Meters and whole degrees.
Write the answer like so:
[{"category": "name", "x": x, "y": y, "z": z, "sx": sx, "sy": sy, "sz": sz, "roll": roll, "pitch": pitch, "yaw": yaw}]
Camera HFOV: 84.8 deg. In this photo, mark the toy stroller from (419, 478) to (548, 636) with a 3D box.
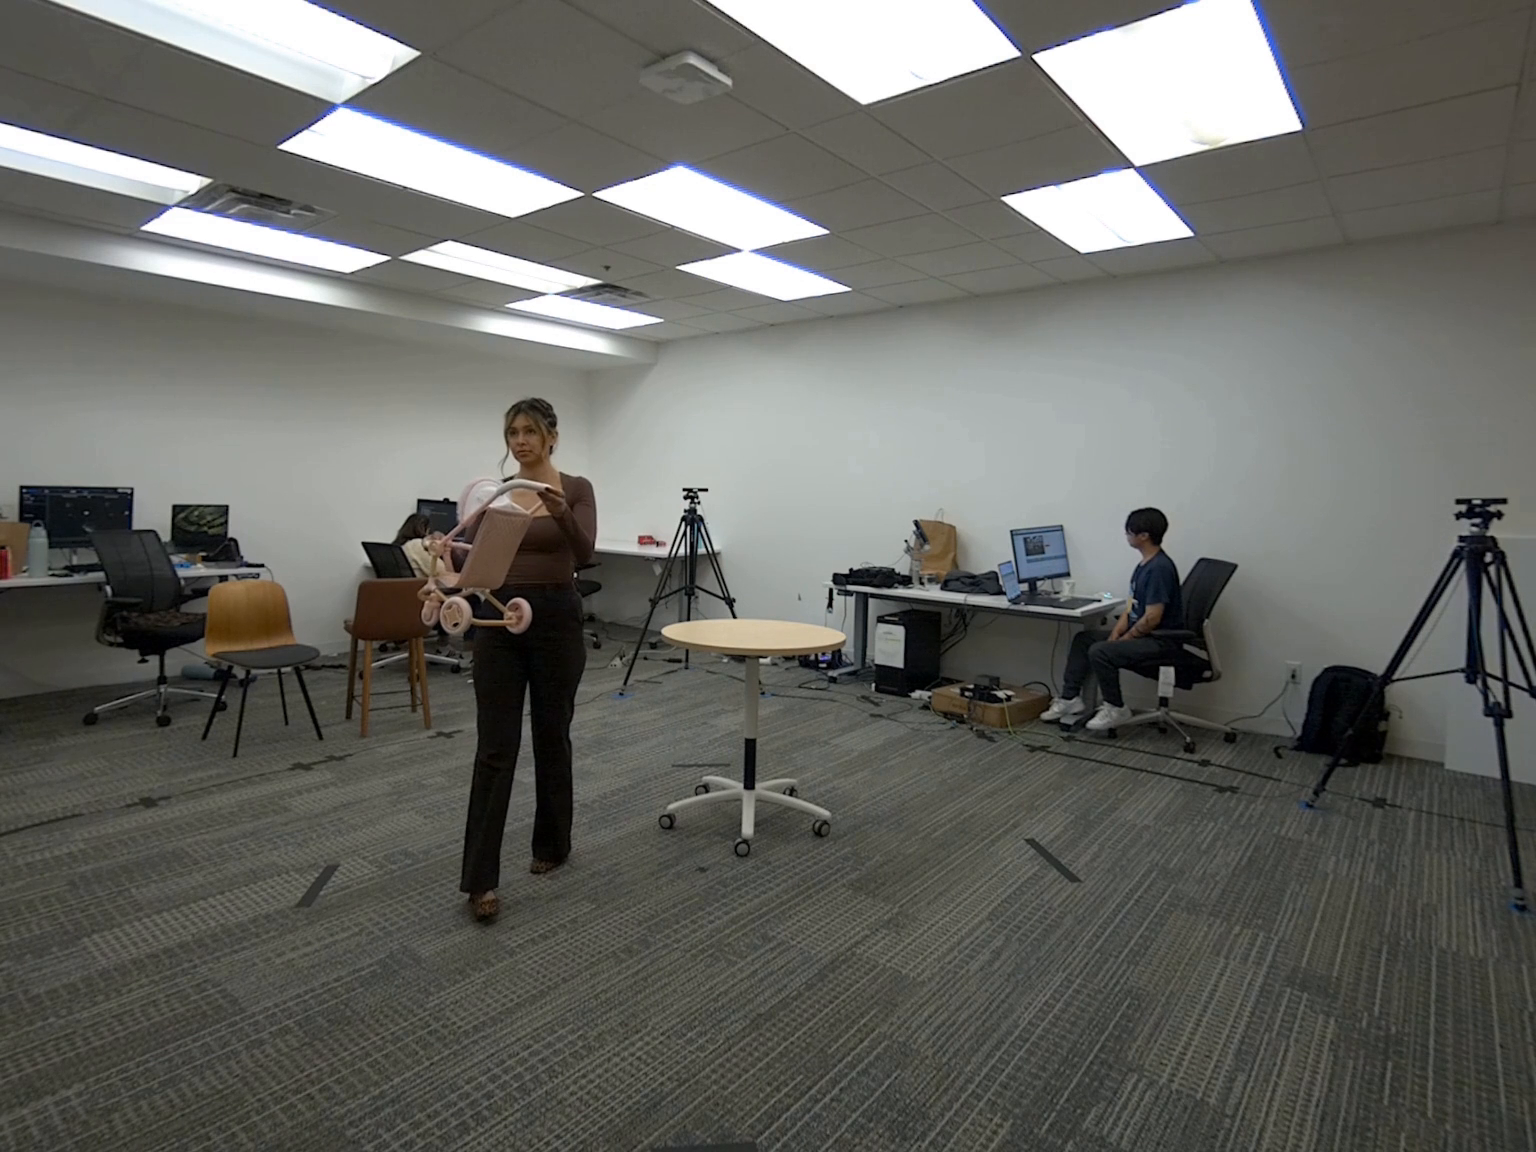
[{"category": "toy stroller", "x": -0.889, "y": -0.065, "z": 2.569, "sx": 0.354, "sy": 0.533, "sz": 0.272, "roll": 18, "pitch": 6, "yaw": 32}]
